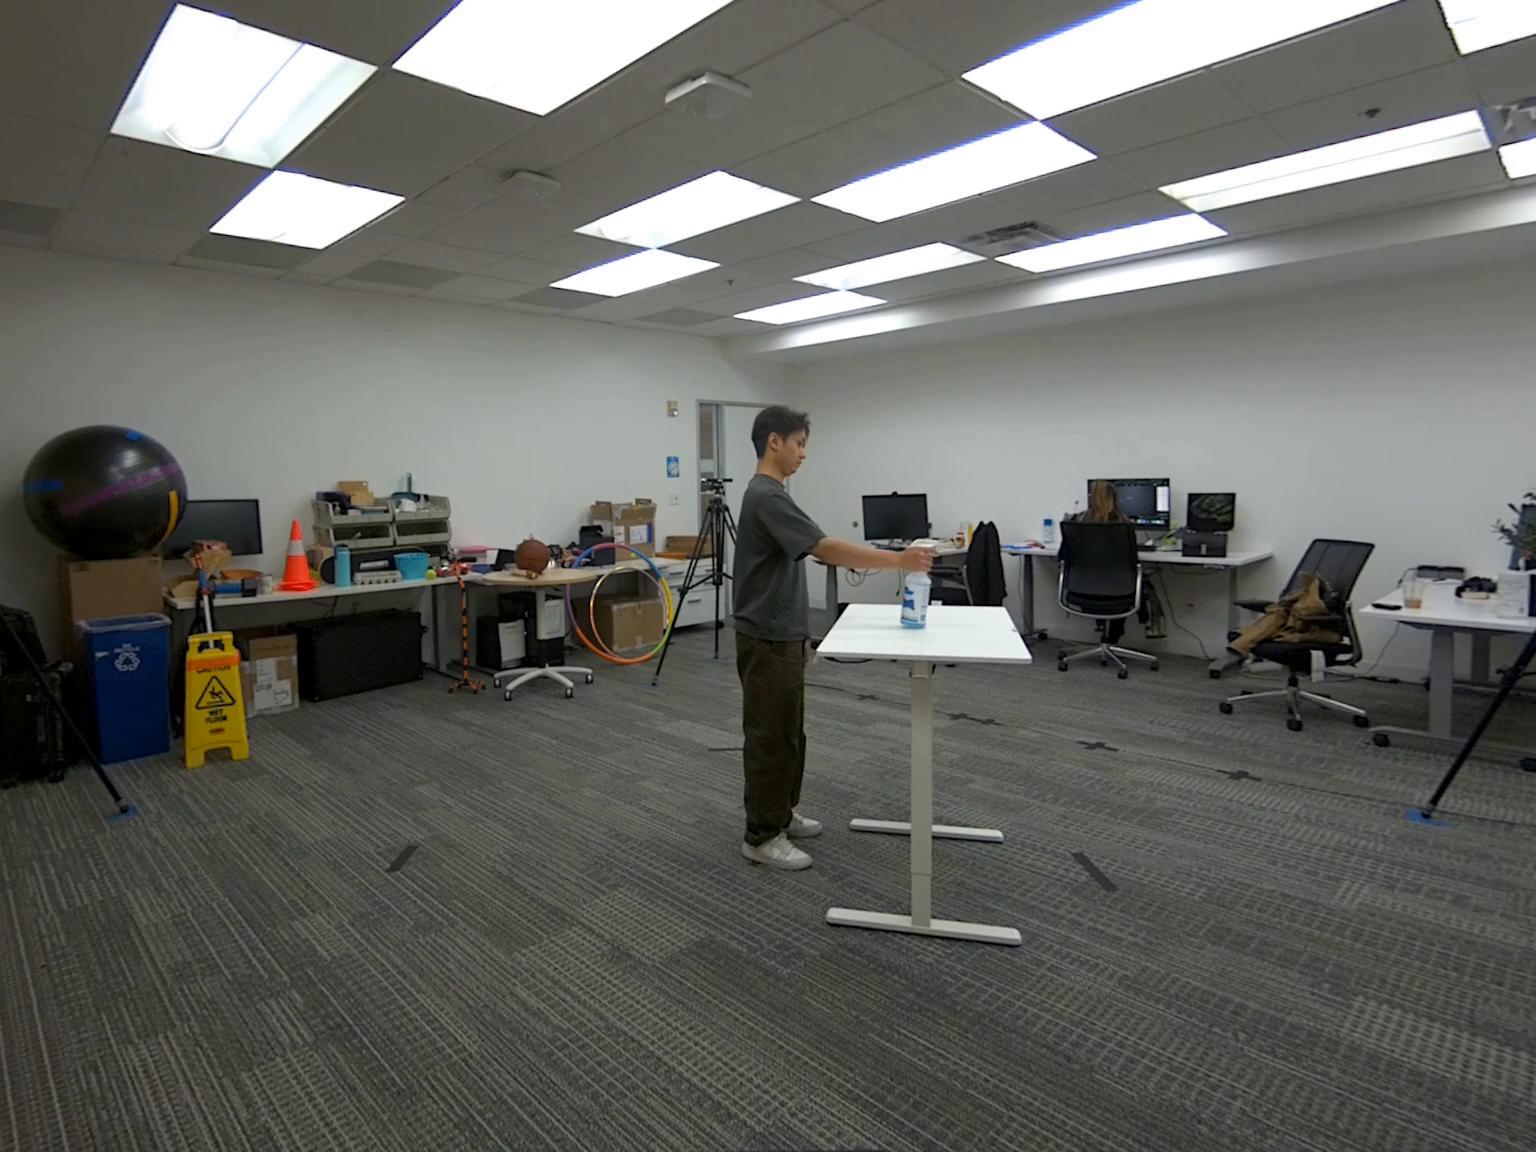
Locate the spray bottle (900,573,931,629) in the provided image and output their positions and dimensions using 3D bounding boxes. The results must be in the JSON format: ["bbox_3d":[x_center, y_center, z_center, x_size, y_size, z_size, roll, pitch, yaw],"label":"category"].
[{"bbox_3d":[0.512,0.025,2.896,0.092,0.296,0.085,10,4,25],"label":"spray bottle"}]
